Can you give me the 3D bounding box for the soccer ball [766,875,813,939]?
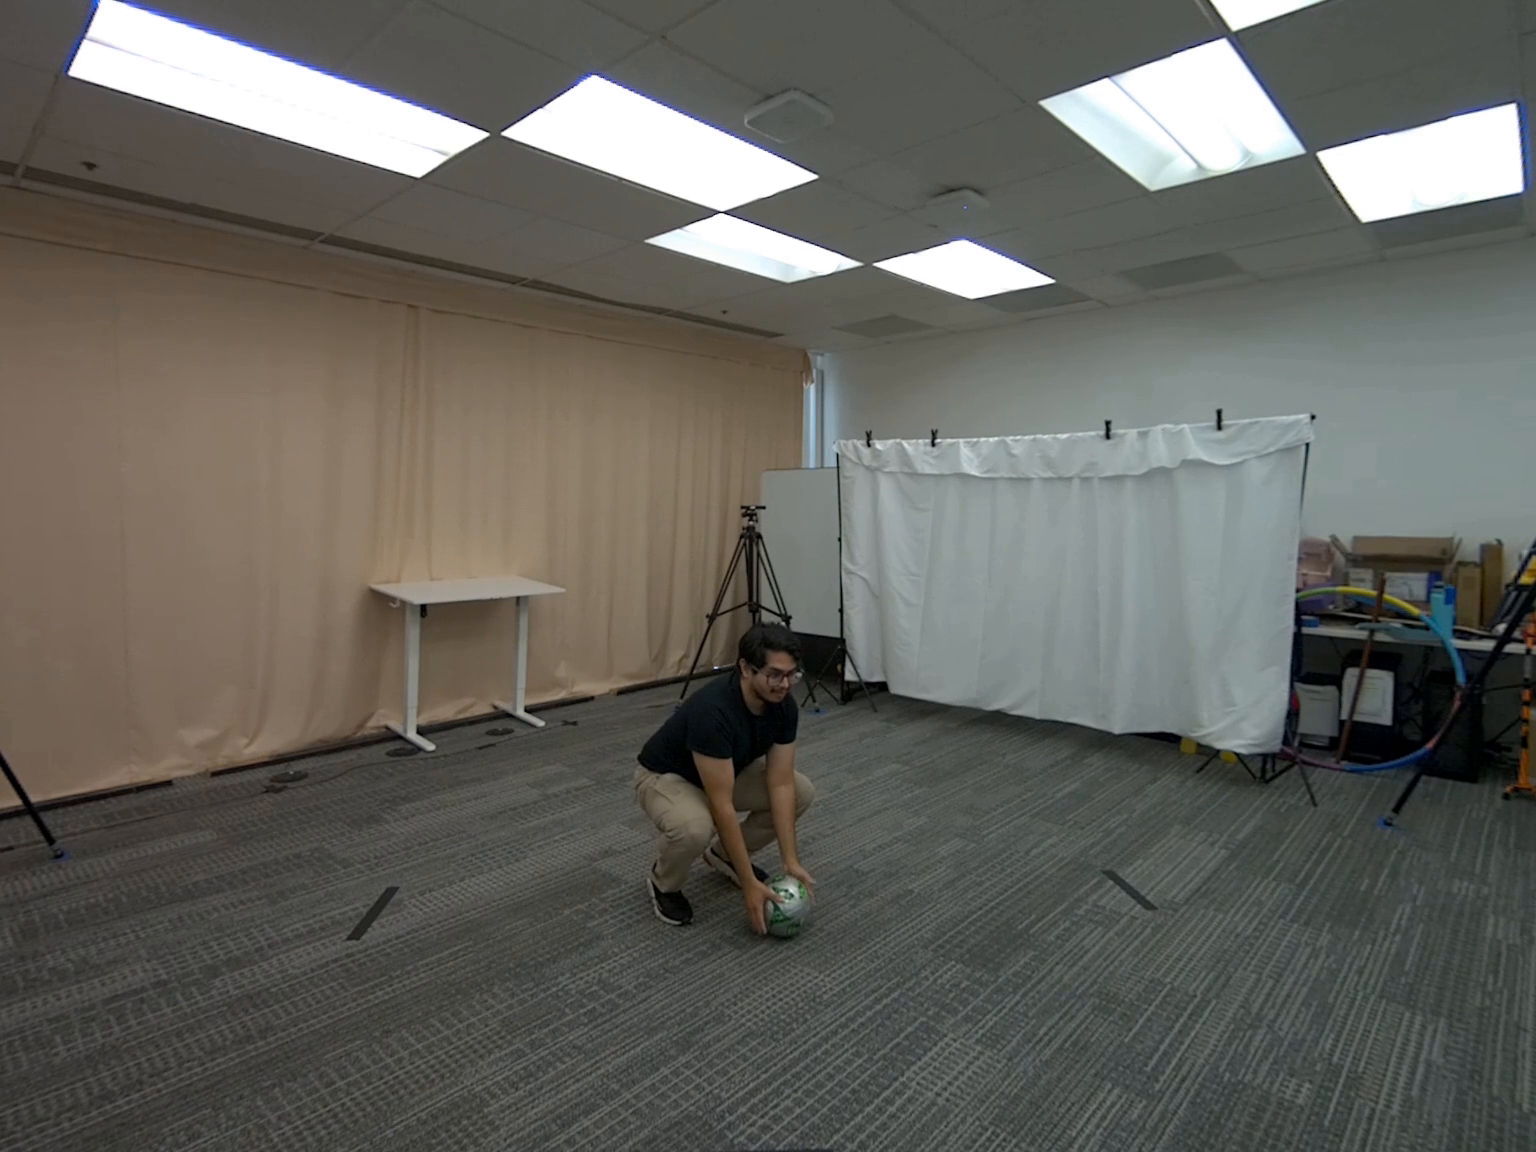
[{"bbox_3d":[0.043,1.067,2.738,0.187,0.187,0.188,0,4,-2],"label":"soccer ball"}]
